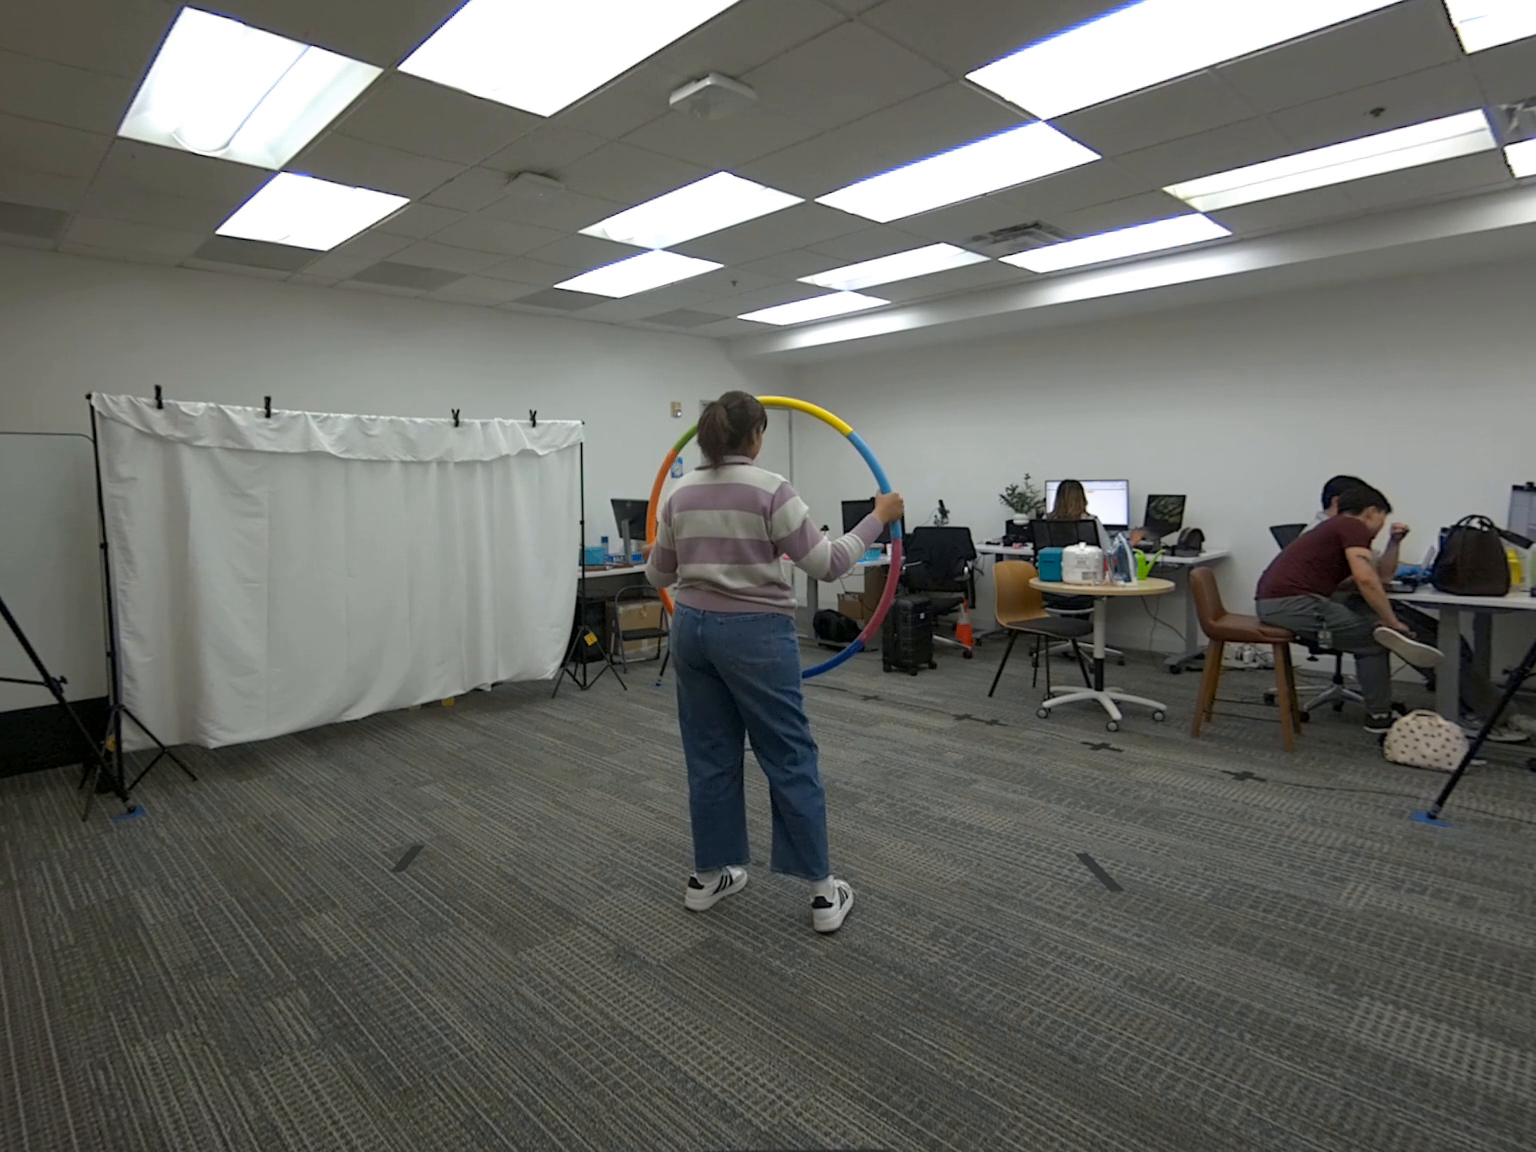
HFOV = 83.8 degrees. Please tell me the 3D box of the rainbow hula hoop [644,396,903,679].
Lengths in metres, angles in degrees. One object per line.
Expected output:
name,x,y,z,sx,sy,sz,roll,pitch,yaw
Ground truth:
rainbow hula hoop,-0.011,-0.122,2.959,1.004,0.975,0.035,2,5,29
